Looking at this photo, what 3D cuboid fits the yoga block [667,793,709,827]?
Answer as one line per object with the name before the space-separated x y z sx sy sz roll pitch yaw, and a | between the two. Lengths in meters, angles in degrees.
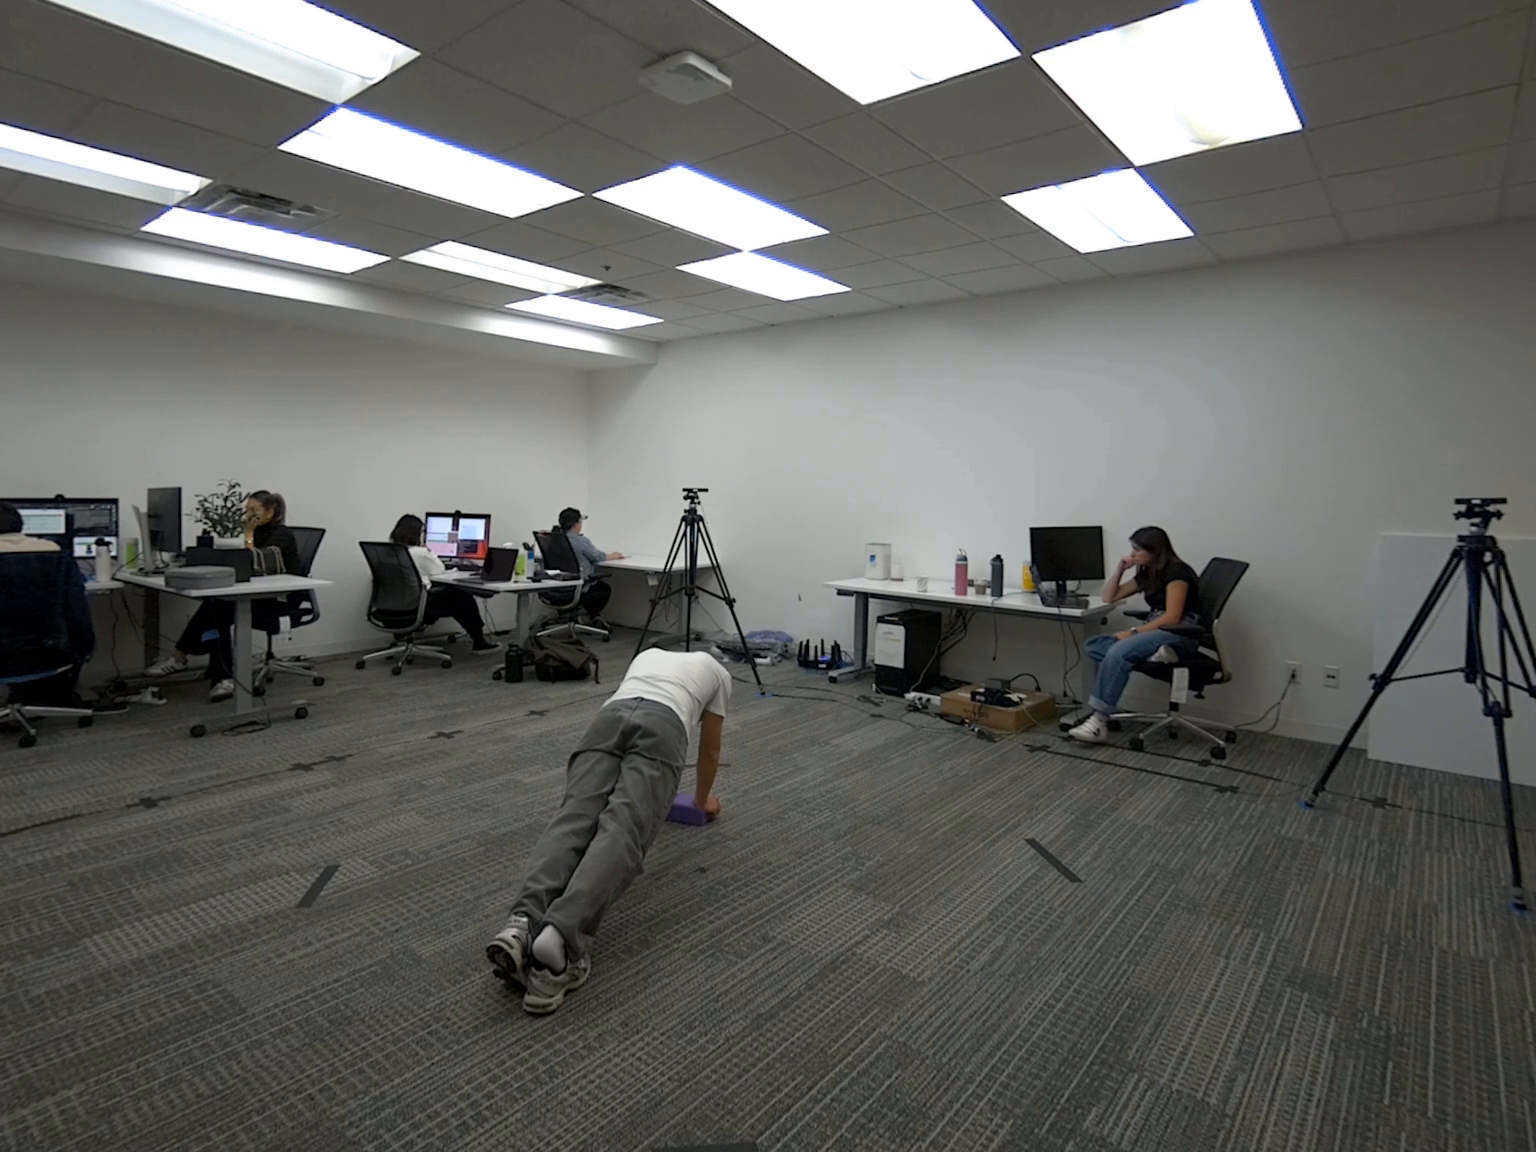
yoga block | -0.355 0.979 3.614 0.234 0.076 0.146 2 4 21
